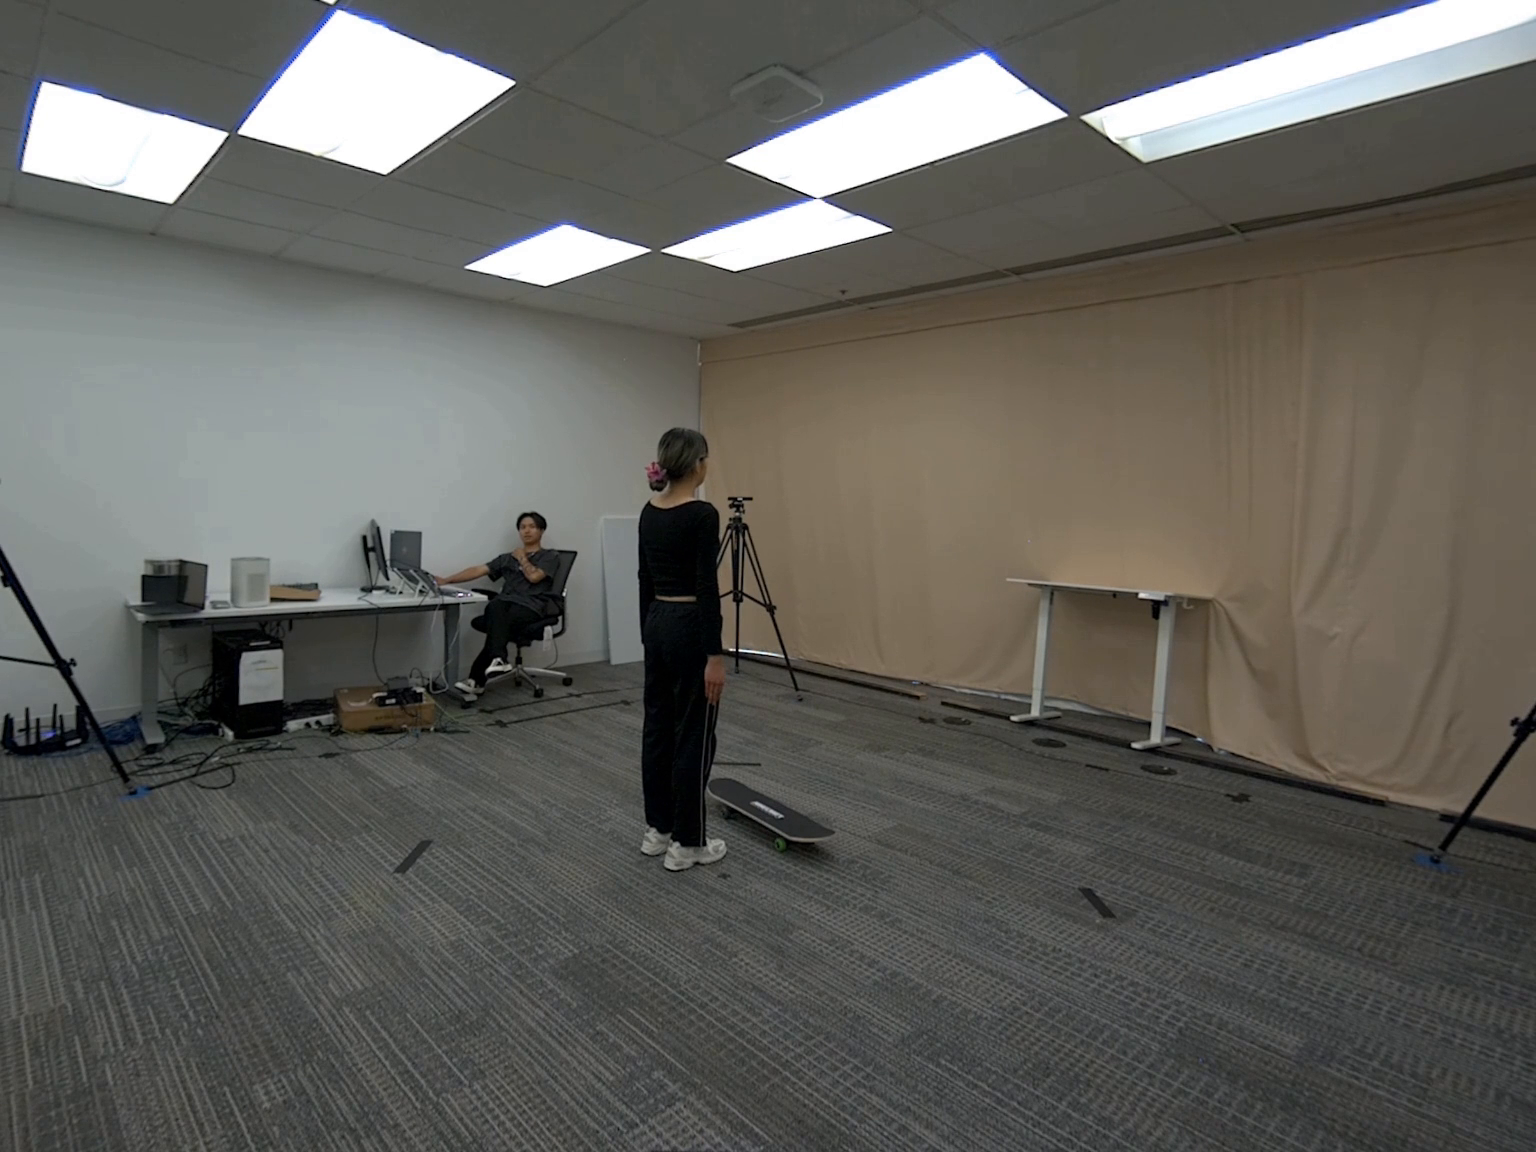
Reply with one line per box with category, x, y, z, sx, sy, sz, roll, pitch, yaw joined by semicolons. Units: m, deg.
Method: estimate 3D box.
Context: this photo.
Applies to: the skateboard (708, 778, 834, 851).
skateboard;-0.016;1.015;3.552;0.189;0.110;0.805;0;5;-35
